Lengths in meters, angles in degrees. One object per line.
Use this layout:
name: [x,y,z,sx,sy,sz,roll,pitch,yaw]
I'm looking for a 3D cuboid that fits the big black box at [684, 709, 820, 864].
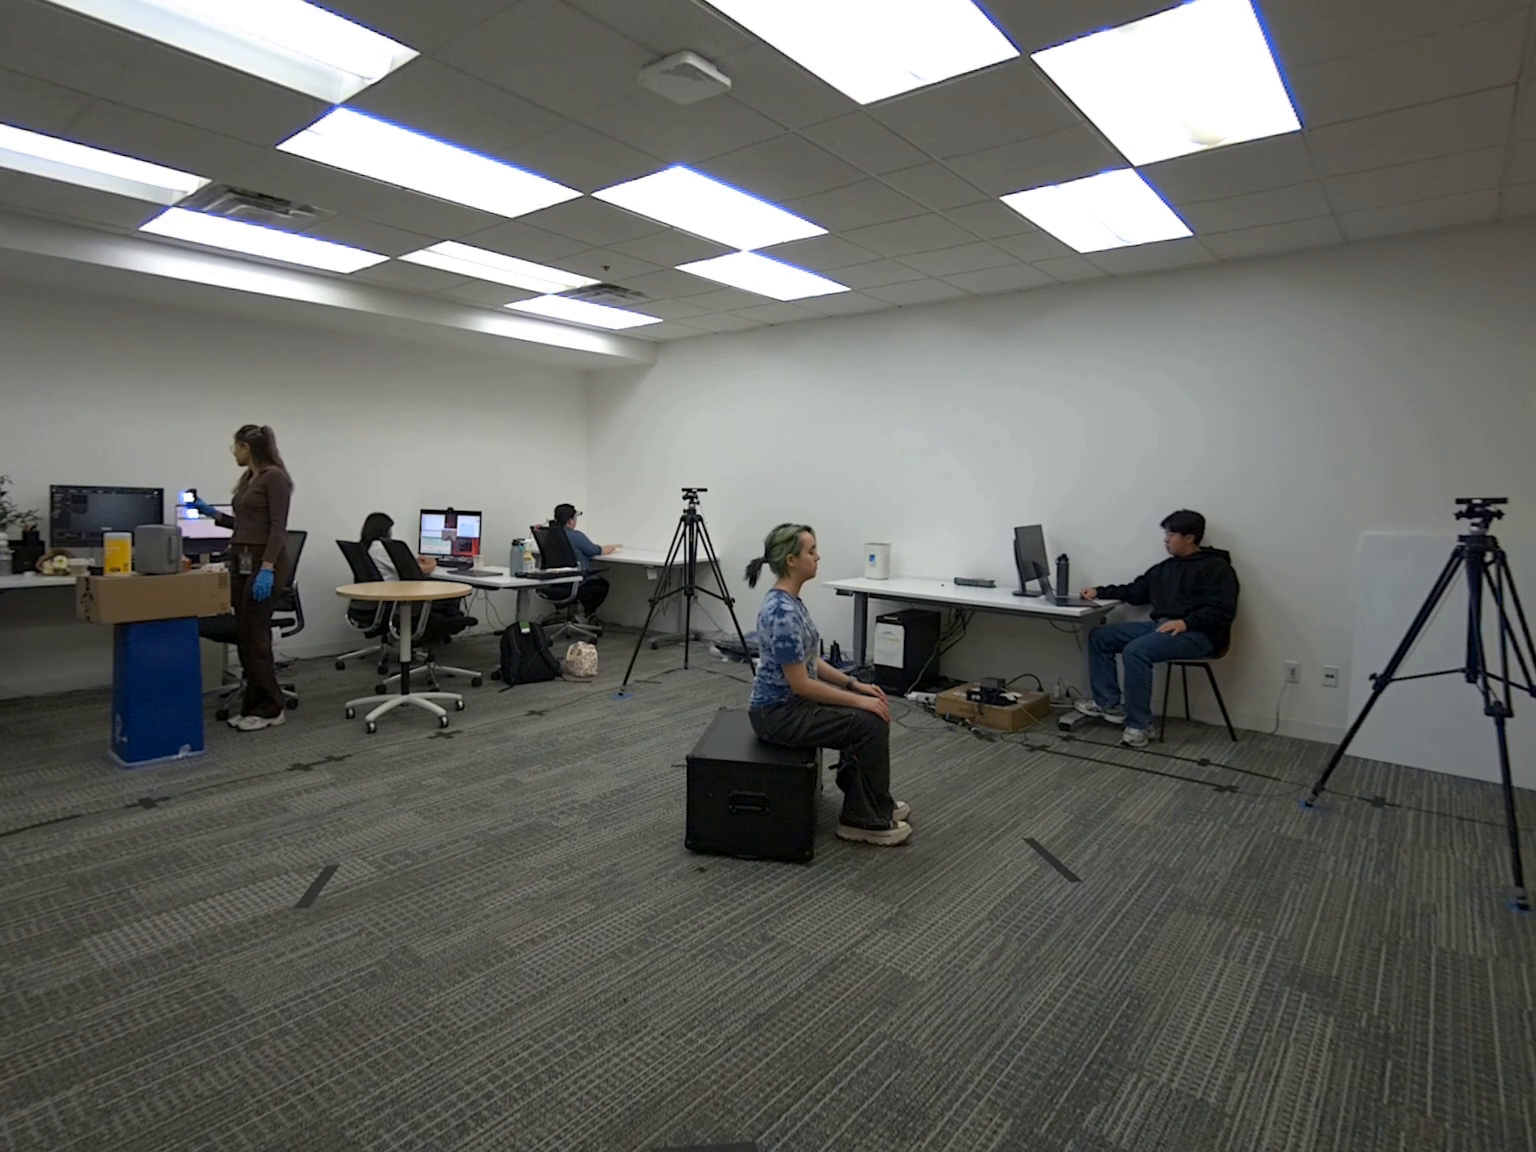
big black box: [-0.036,0.836,3.587,0.526,0.395,0.857,1,5,7]
